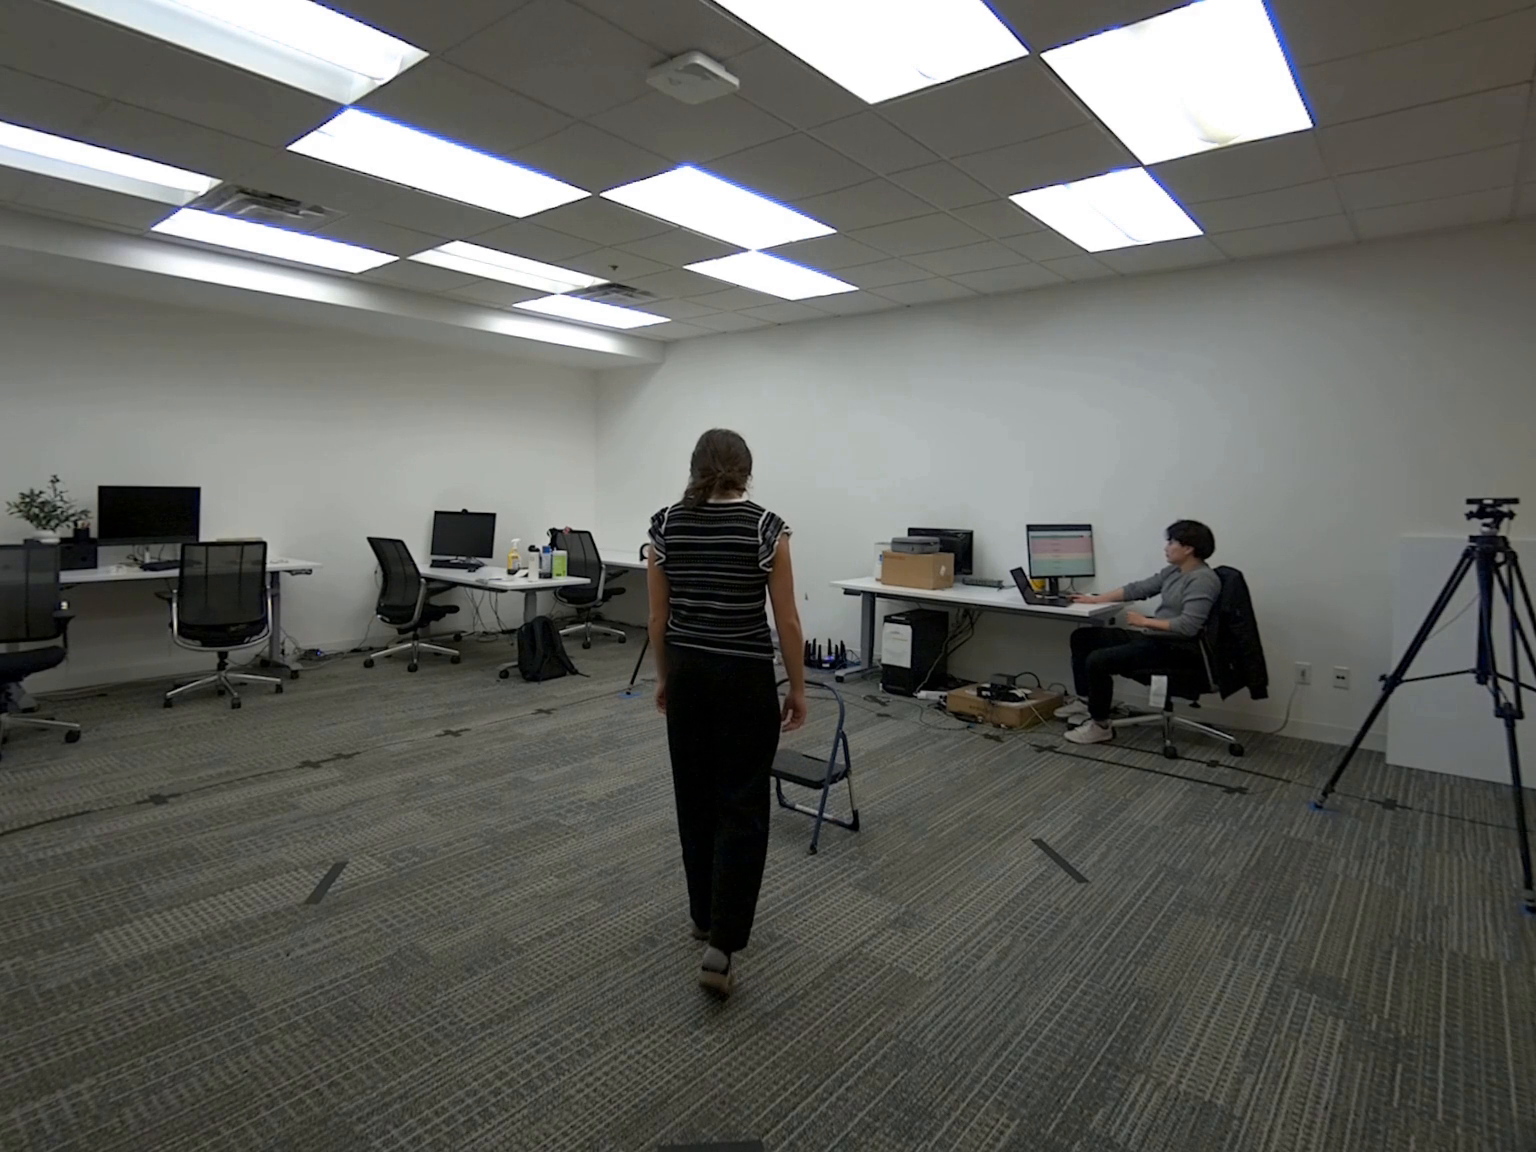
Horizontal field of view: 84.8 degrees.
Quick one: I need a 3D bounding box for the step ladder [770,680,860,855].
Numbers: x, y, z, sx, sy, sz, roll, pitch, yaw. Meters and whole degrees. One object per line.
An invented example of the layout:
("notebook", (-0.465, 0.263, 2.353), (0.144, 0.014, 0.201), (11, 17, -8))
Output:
("step ladder", (0.115, 0.733, 3.494), (0.445, 0.604, 0.339), (4, 4, 40))
